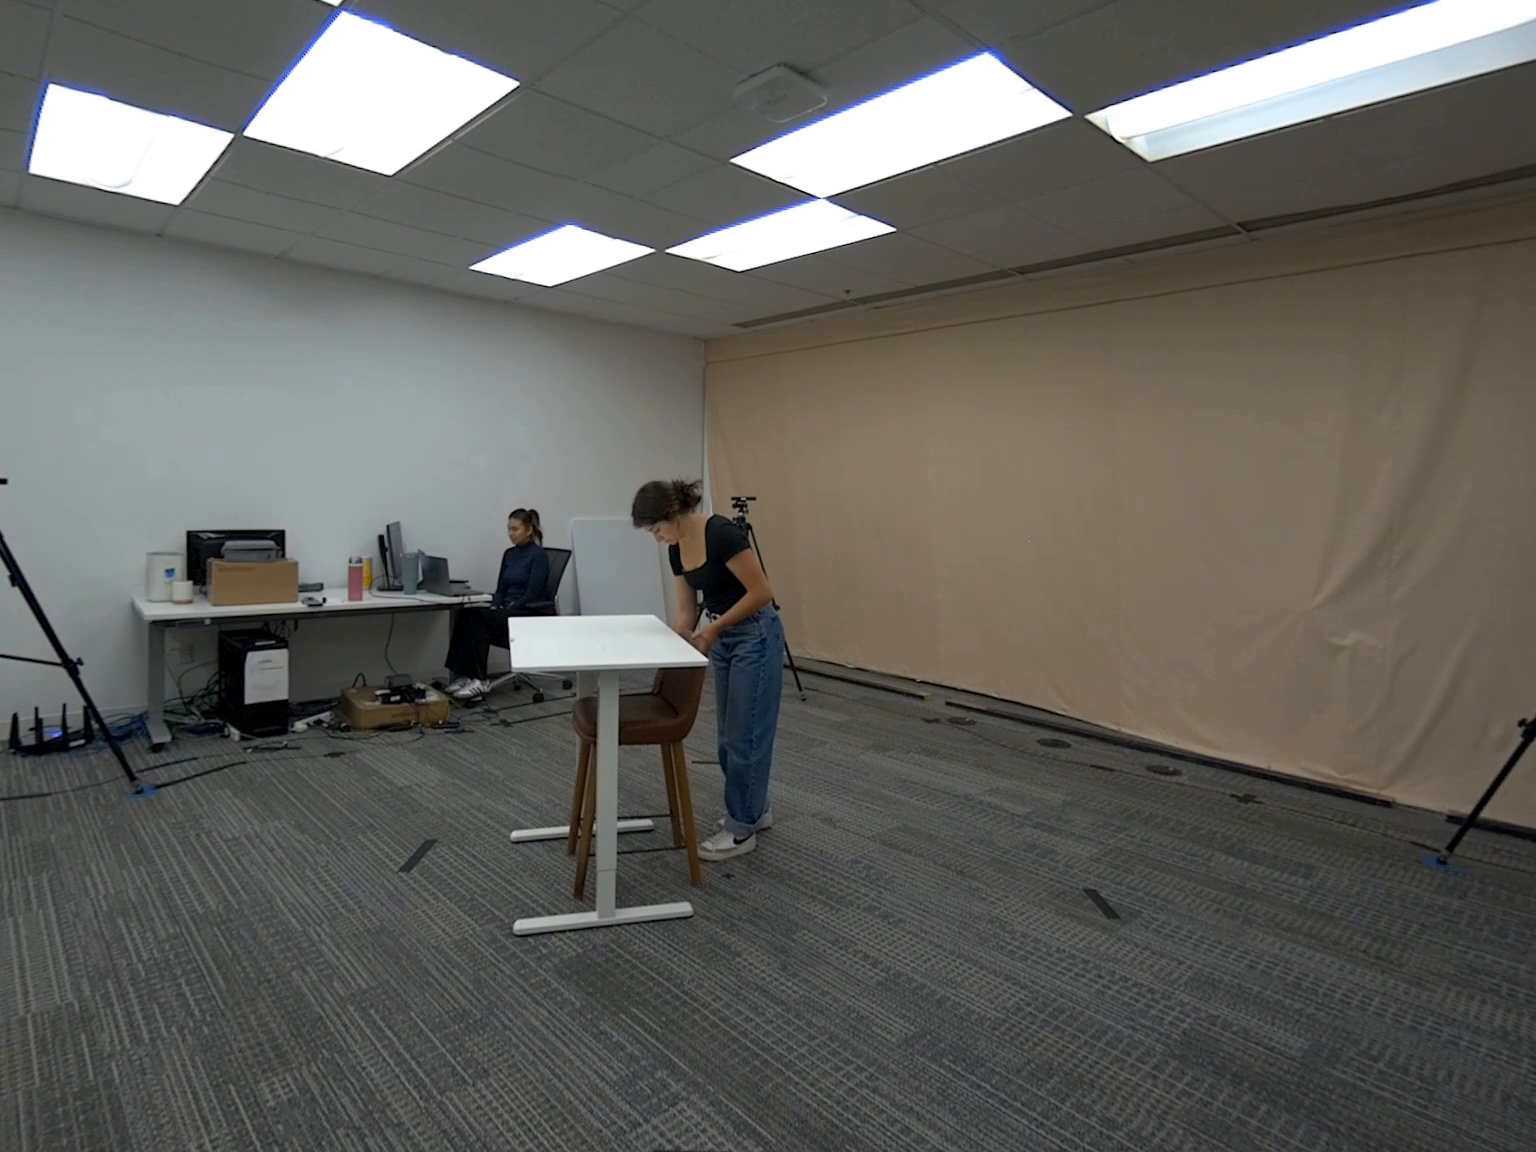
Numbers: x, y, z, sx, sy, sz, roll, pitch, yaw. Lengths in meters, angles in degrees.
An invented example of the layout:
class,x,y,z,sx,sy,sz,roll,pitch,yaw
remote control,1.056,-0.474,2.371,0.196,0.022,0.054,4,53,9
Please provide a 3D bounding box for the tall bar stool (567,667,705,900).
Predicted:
class,x,y,z,sx,sy,sz,roll,pitch,yaw
tall bar stool,-0.493,0.670,3.110,0.461,0.888,0.463,2,3,-17
